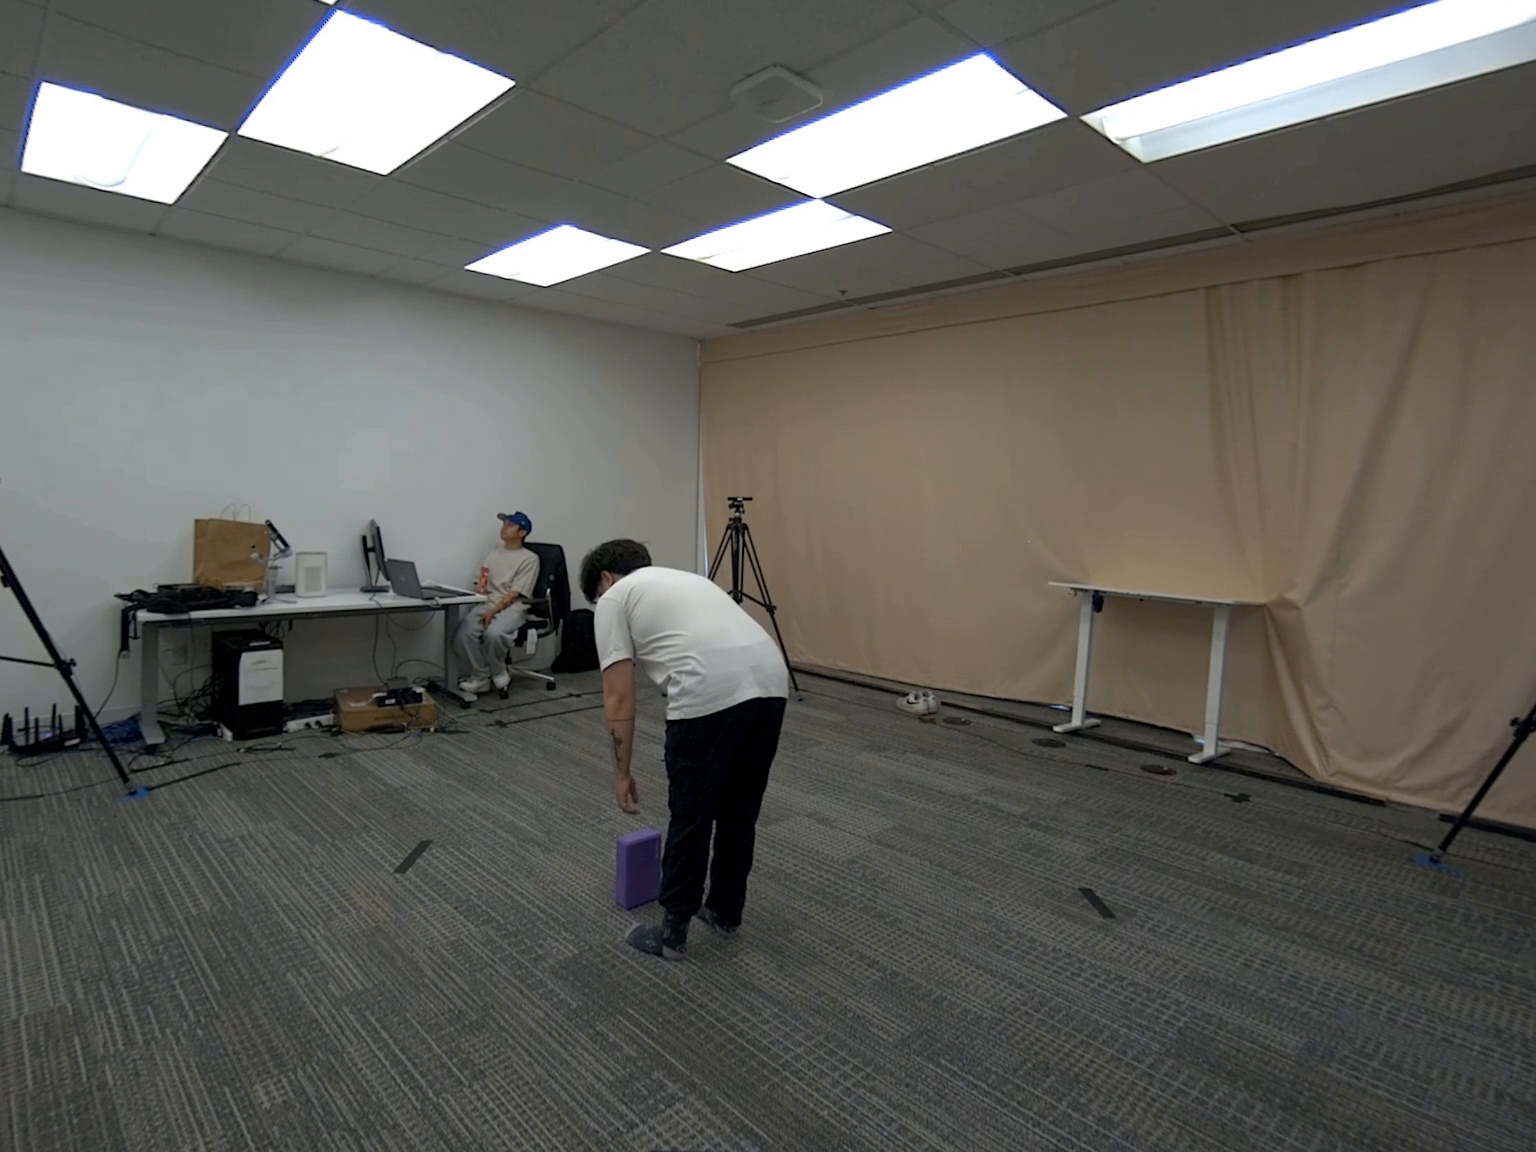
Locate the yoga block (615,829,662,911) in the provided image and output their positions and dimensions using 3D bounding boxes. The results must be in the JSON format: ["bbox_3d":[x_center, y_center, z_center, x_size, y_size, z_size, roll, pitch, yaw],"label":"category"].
[{"bbox_3d":[-0.451,1.006,2.891,0.145,0.228,0.078,-3,6,-43],"label":"yoga block"}]
